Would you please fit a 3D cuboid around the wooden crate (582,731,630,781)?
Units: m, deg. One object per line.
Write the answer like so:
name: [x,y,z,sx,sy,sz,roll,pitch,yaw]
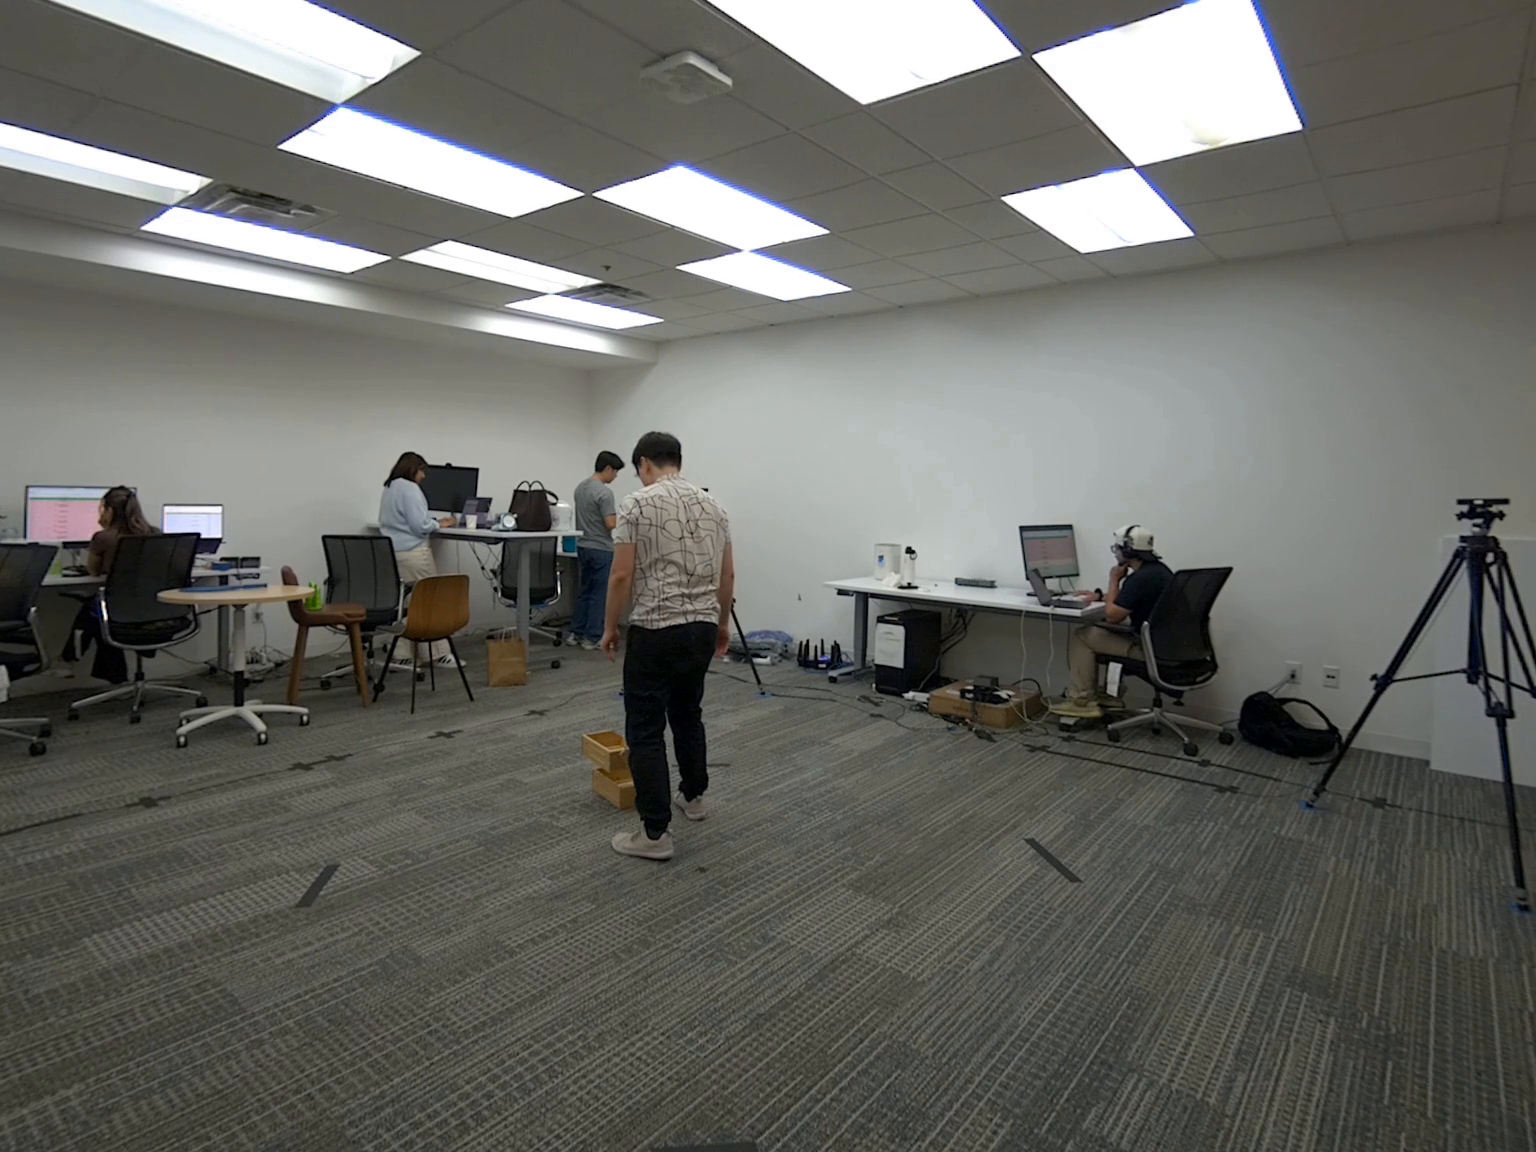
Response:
wooden crate: [-0.656,0.855,3.854,0.293,0.272,0.335,-3,6,-34]
